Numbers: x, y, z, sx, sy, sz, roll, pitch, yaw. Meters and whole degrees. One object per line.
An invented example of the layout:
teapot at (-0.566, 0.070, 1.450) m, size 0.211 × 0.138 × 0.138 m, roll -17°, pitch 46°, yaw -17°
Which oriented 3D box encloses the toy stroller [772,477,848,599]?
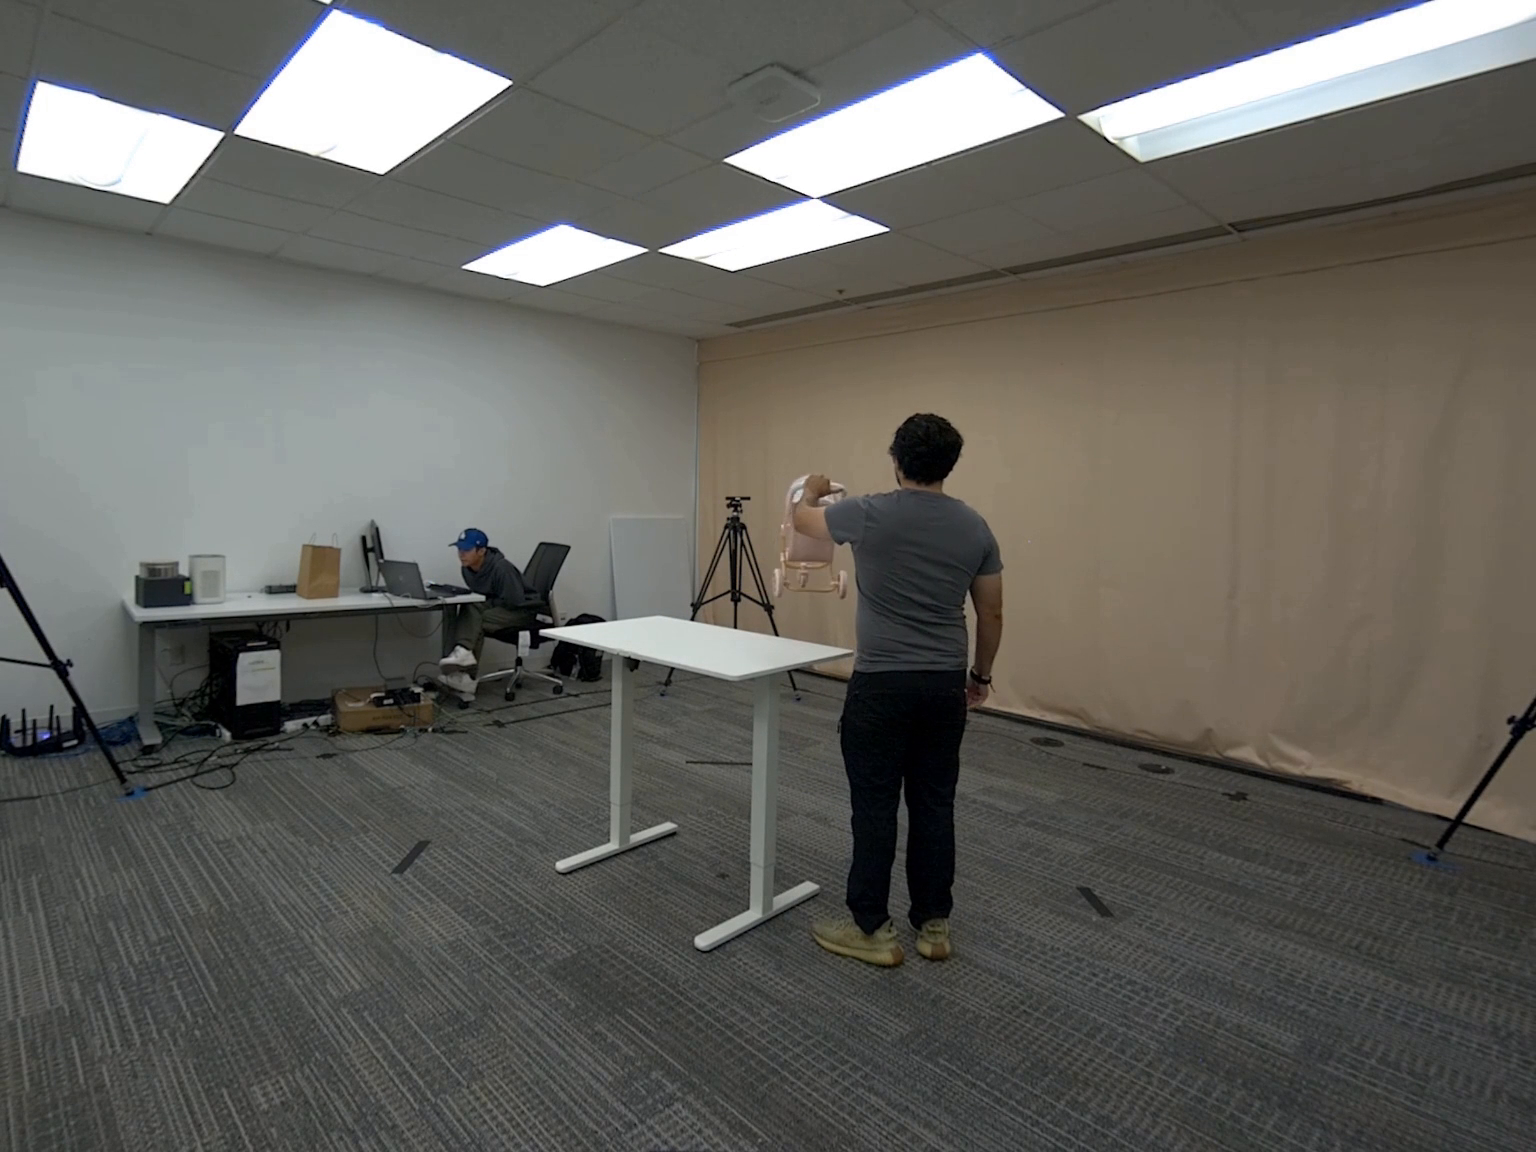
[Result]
toy stroller at (0.165, -0.146, 3.271) m, size 0.281 × 0.528 × 0.346 m, roll 3°, pitch 20°, yaw 0°
